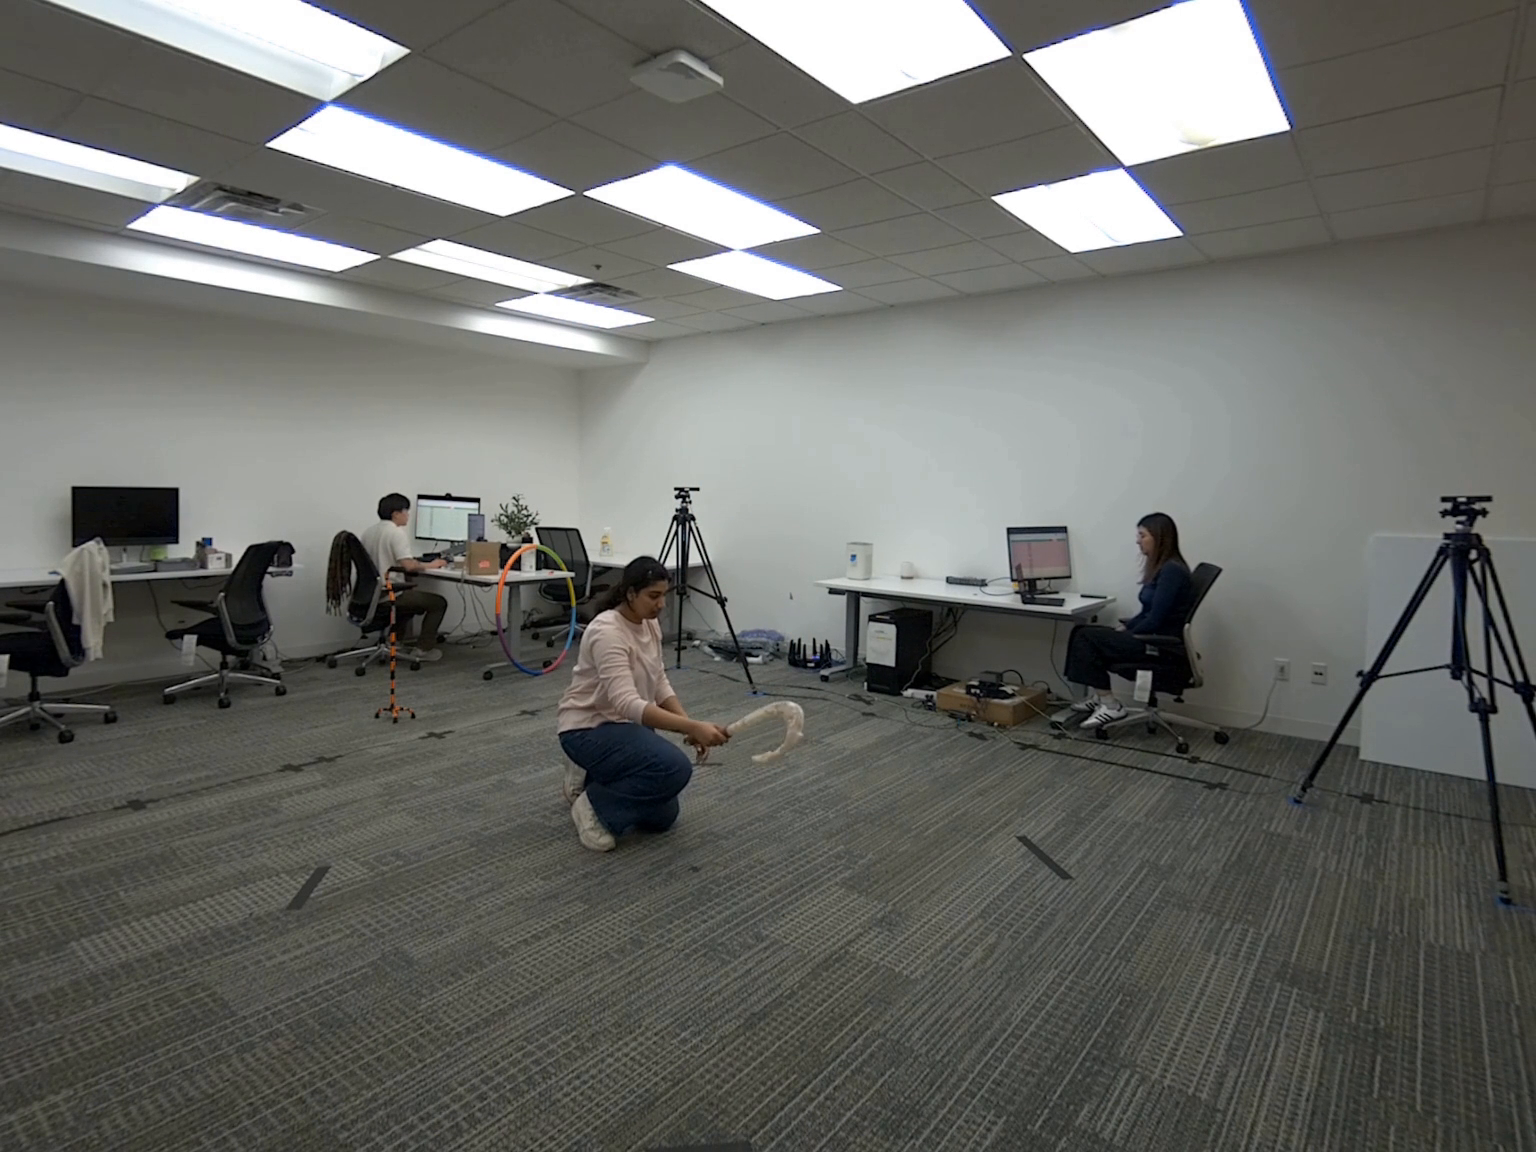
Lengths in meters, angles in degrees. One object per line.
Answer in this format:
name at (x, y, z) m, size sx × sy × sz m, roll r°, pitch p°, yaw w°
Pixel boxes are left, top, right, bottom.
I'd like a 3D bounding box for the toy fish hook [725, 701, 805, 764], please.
toy fish hook at (-0.112, 0.576, 2.971) m, size 0.514 × 0.229 × 0.046 m, roll -21°, pitch -53°, yaw 28°
